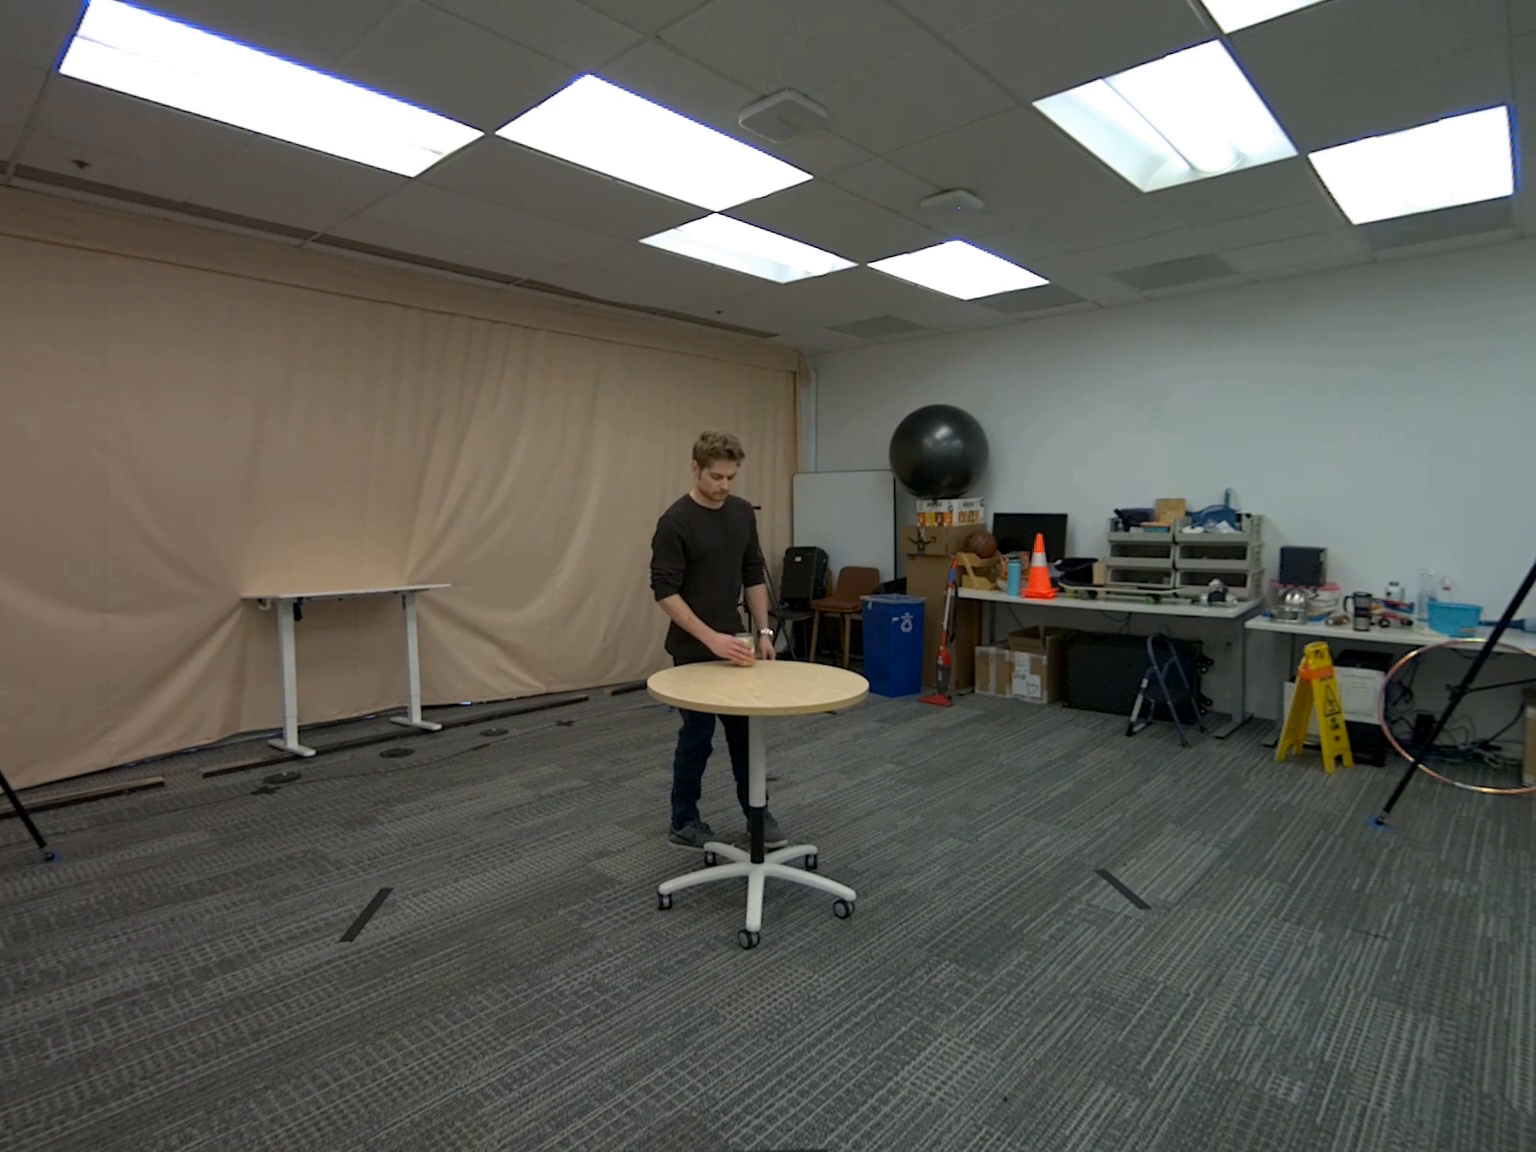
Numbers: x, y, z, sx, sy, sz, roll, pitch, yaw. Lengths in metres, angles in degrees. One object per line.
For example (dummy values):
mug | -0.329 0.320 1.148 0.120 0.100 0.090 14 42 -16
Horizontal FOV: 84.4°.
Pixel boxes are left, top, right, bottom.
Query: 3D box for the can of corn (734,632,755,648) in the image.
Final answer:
can of corn | -0.084 0.277 3.185 0.074 0.110 0.074 -3 5 -2
